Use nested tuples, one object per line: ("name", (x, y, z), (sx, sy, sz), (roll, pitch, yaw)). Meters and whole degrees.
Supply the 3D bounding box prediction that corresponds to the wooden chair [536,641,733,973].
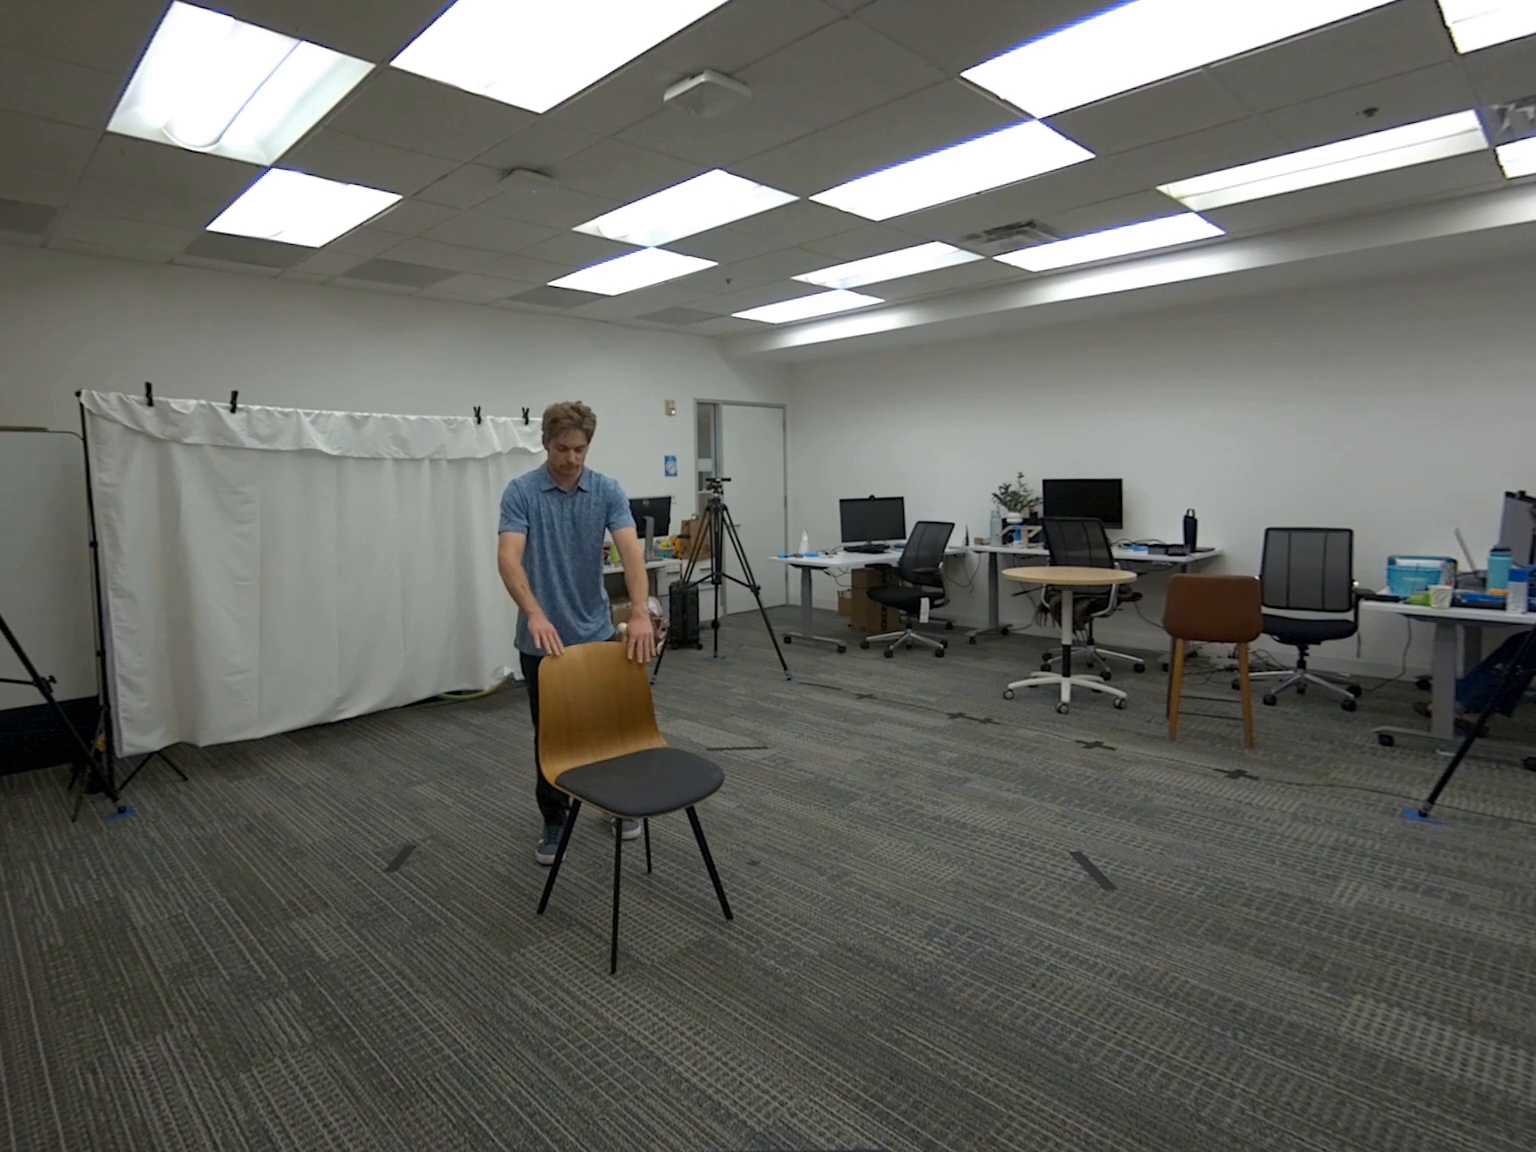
("wooden chair", (-0.427, 0.670, 2.698), (0.465, 0.877, 0.537), (-5, 2, -42))
